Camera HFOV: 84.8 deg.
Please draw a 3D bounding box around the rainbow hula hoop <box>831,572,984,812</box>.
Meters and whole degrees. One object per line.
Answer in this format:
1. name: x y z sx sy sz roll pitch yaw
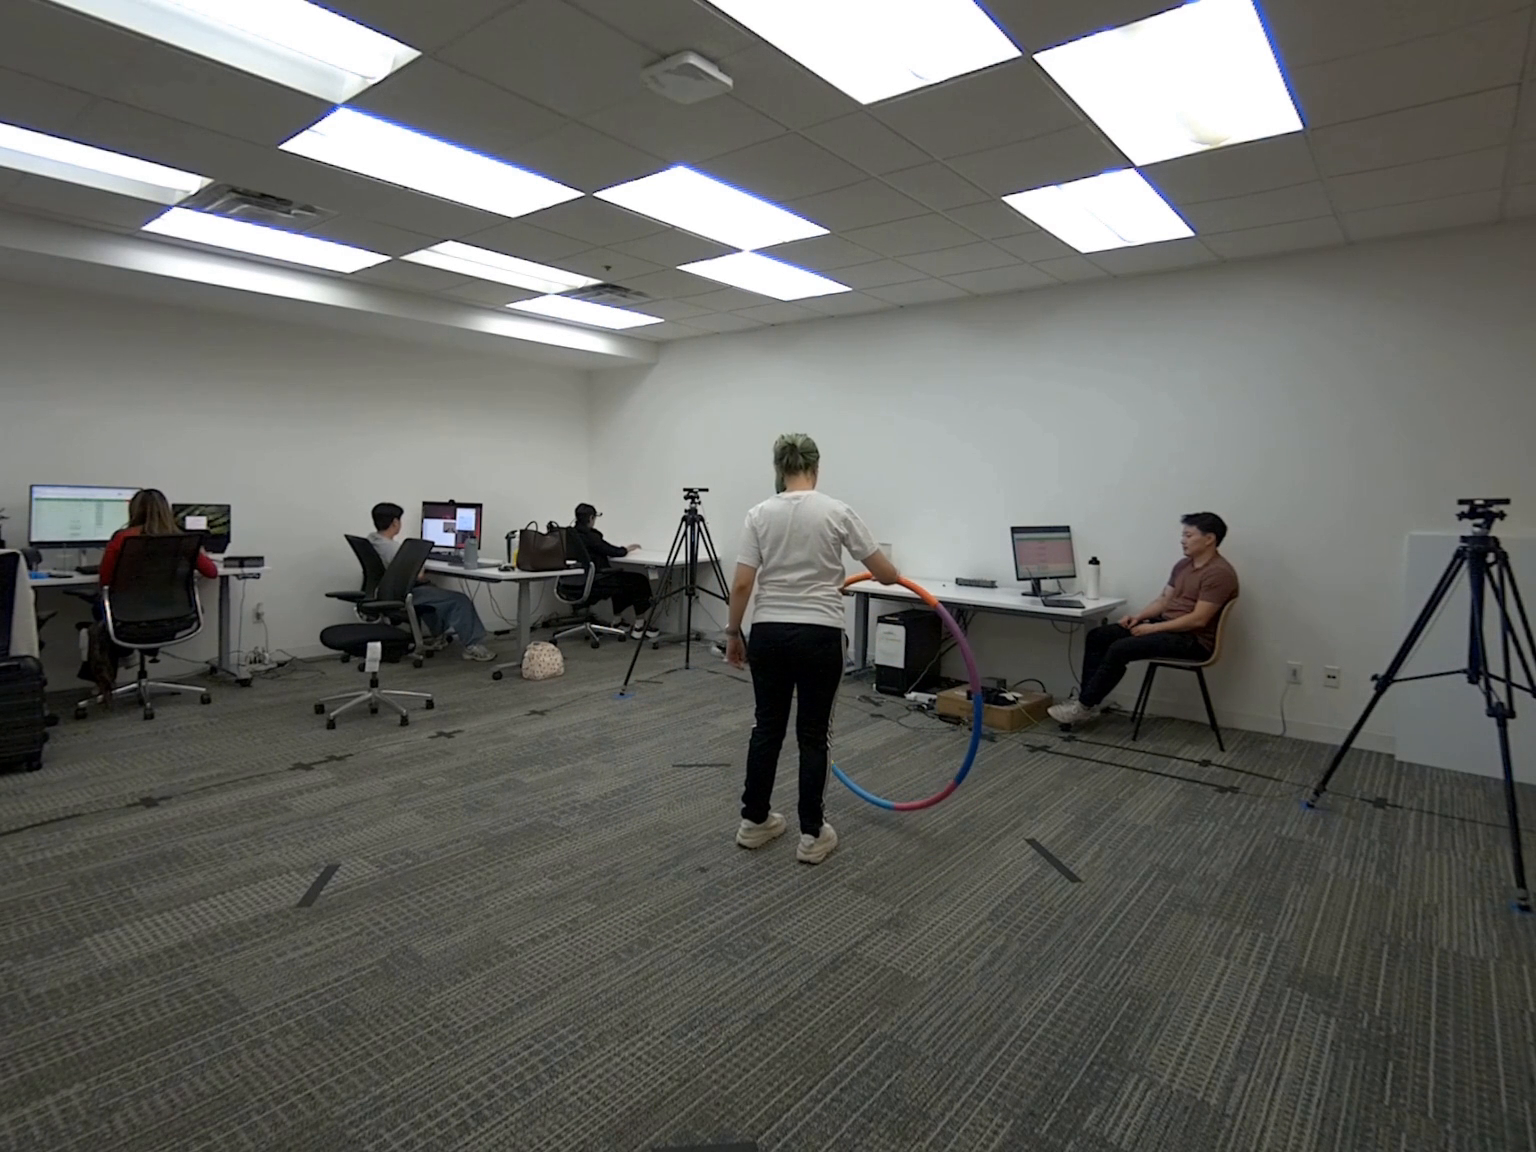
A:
1. rainbow hula hoop: 0.458 0.479 3.582 0.034 0.974 1.012 -5 7 -41
